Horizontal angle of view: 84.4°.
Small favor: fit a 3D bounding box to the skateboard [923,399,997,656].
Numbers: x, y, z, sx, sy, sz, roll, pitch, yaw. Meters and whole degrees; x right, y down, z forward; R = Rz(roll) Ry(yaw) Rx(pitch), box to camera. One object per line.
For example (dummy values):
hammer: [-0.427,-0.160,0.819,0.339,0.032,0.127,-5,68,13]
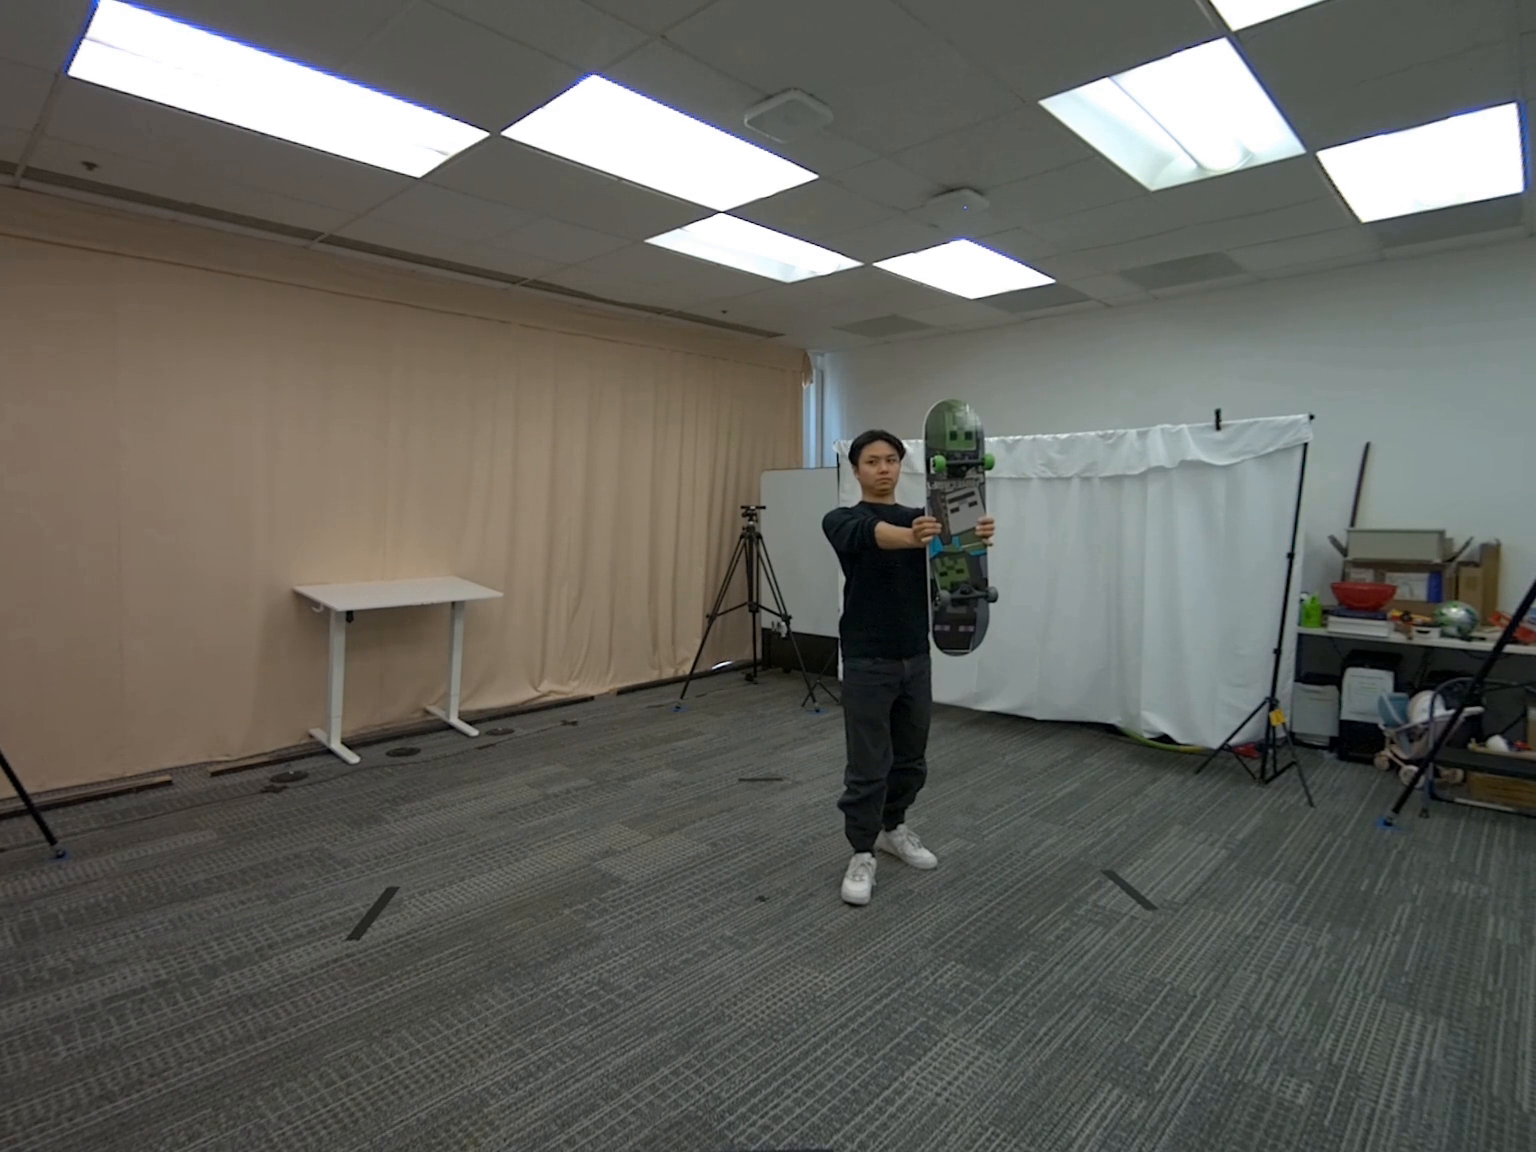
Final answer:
skateboard: [0.583,-0.134,2.538,0.191,0.783,0.112,-3,5,-11]
